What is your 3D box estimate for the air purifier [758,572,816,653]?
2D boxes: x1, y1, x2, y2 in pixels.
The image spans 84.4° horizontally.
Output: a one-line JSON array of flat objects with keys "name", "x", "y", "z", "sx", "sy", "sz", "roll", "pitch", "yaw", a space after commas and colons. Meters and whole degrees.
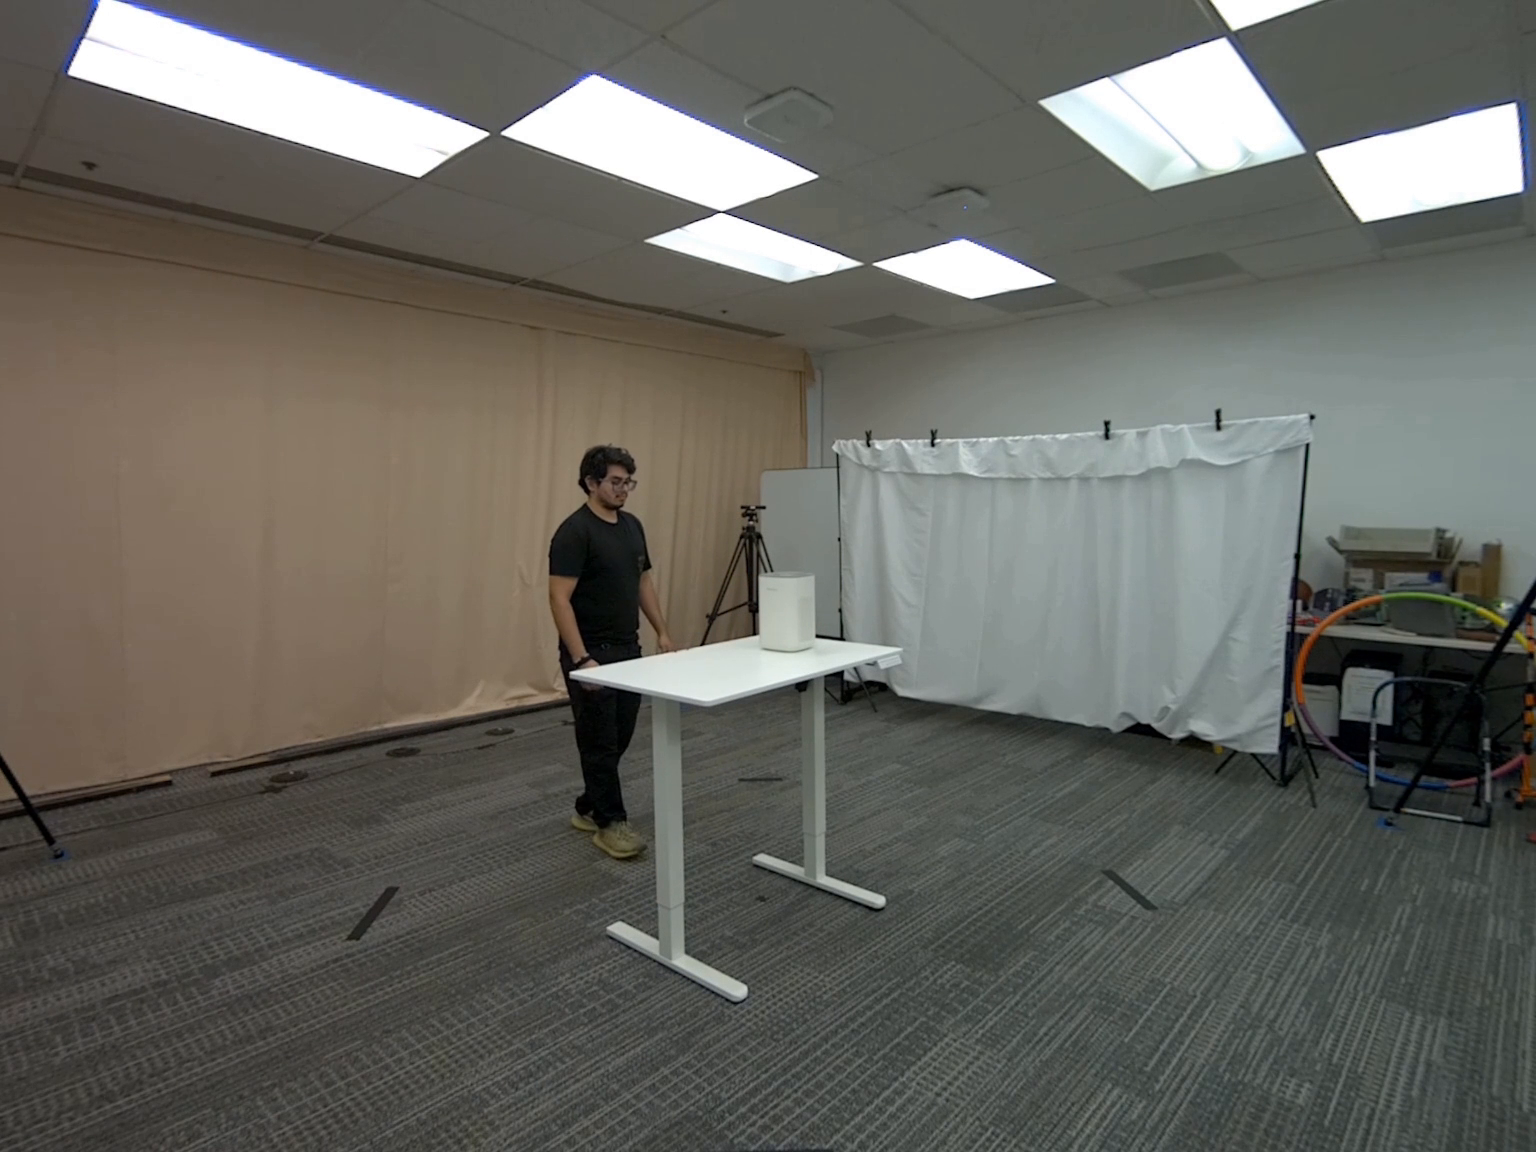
[{"name": "air purifier", "x": 0.072, "y": 0.125, "z": 2.980, "sx": 0.176, "sy": 0.265, "sz": 0.166, "roll": 2, "pitch": 5, "yaw": 37}]
